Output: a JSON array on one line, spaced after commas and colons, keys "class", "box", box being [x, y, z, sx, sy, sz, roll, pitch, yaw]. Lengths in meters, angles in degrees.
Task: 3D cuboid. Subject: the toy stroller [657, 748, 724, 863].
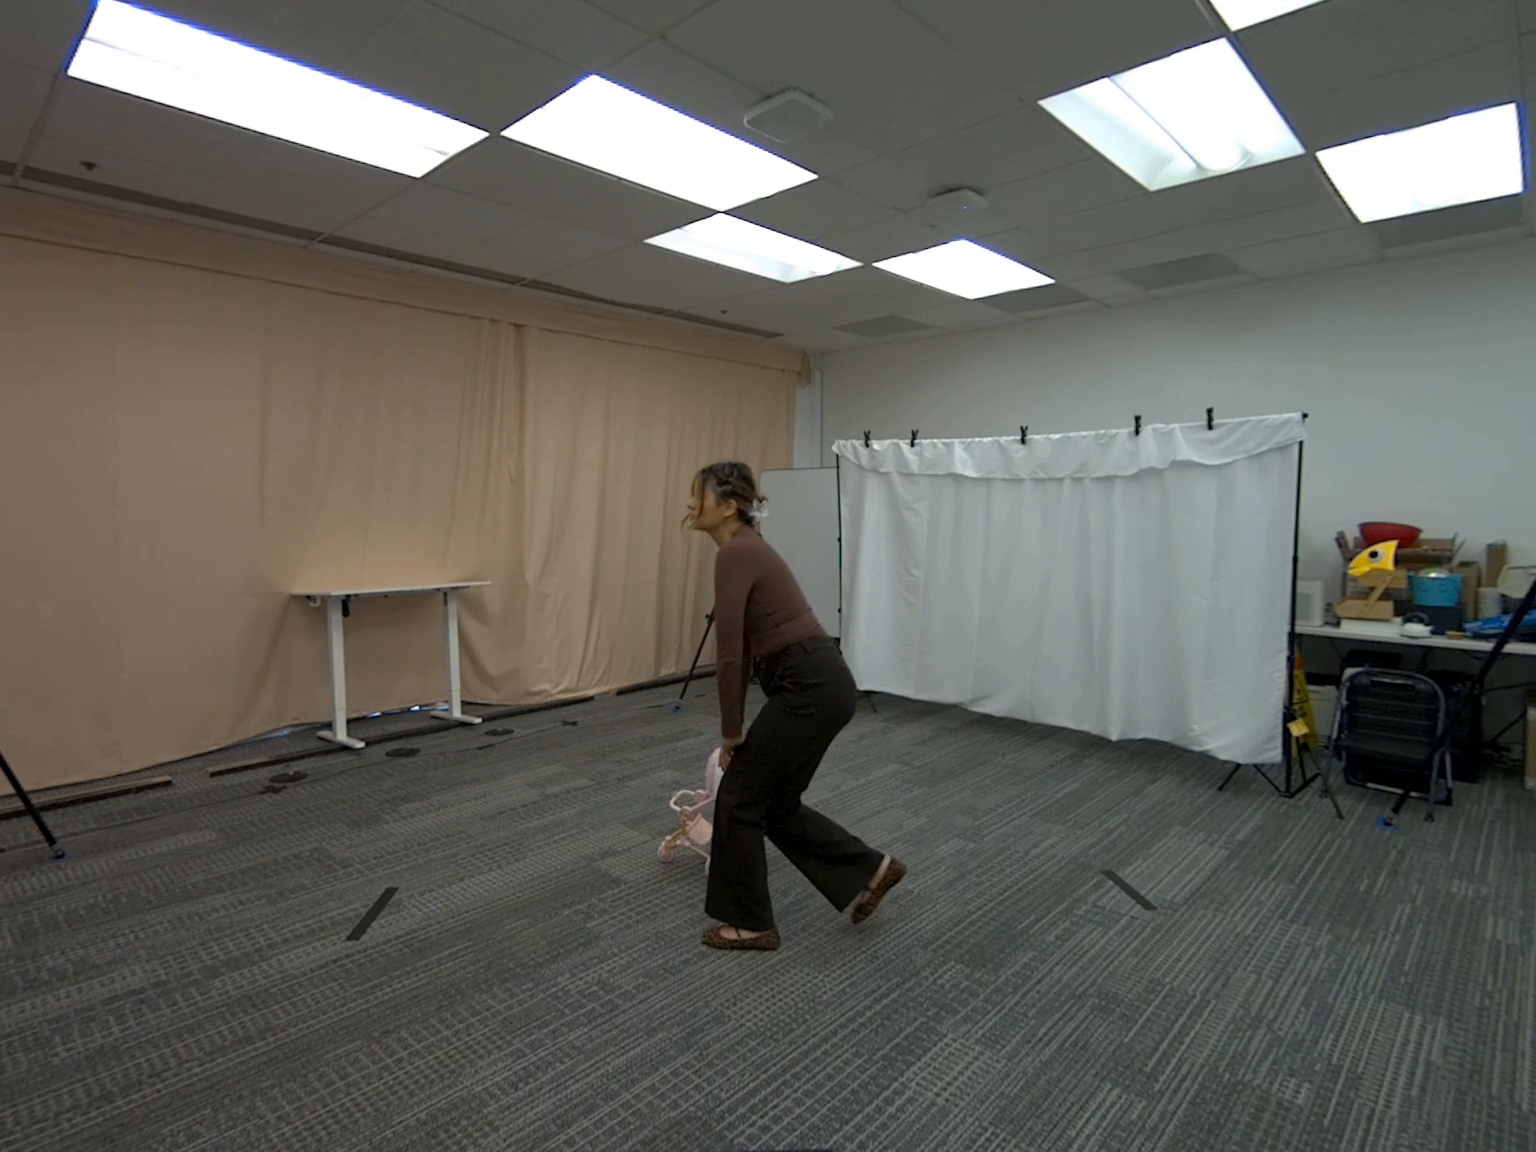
[{"class": "toy stroller", "box": [-0.210, 0.901, 3.233, 0.348, 0.533, 0.276, 19, 9, 17]}]
